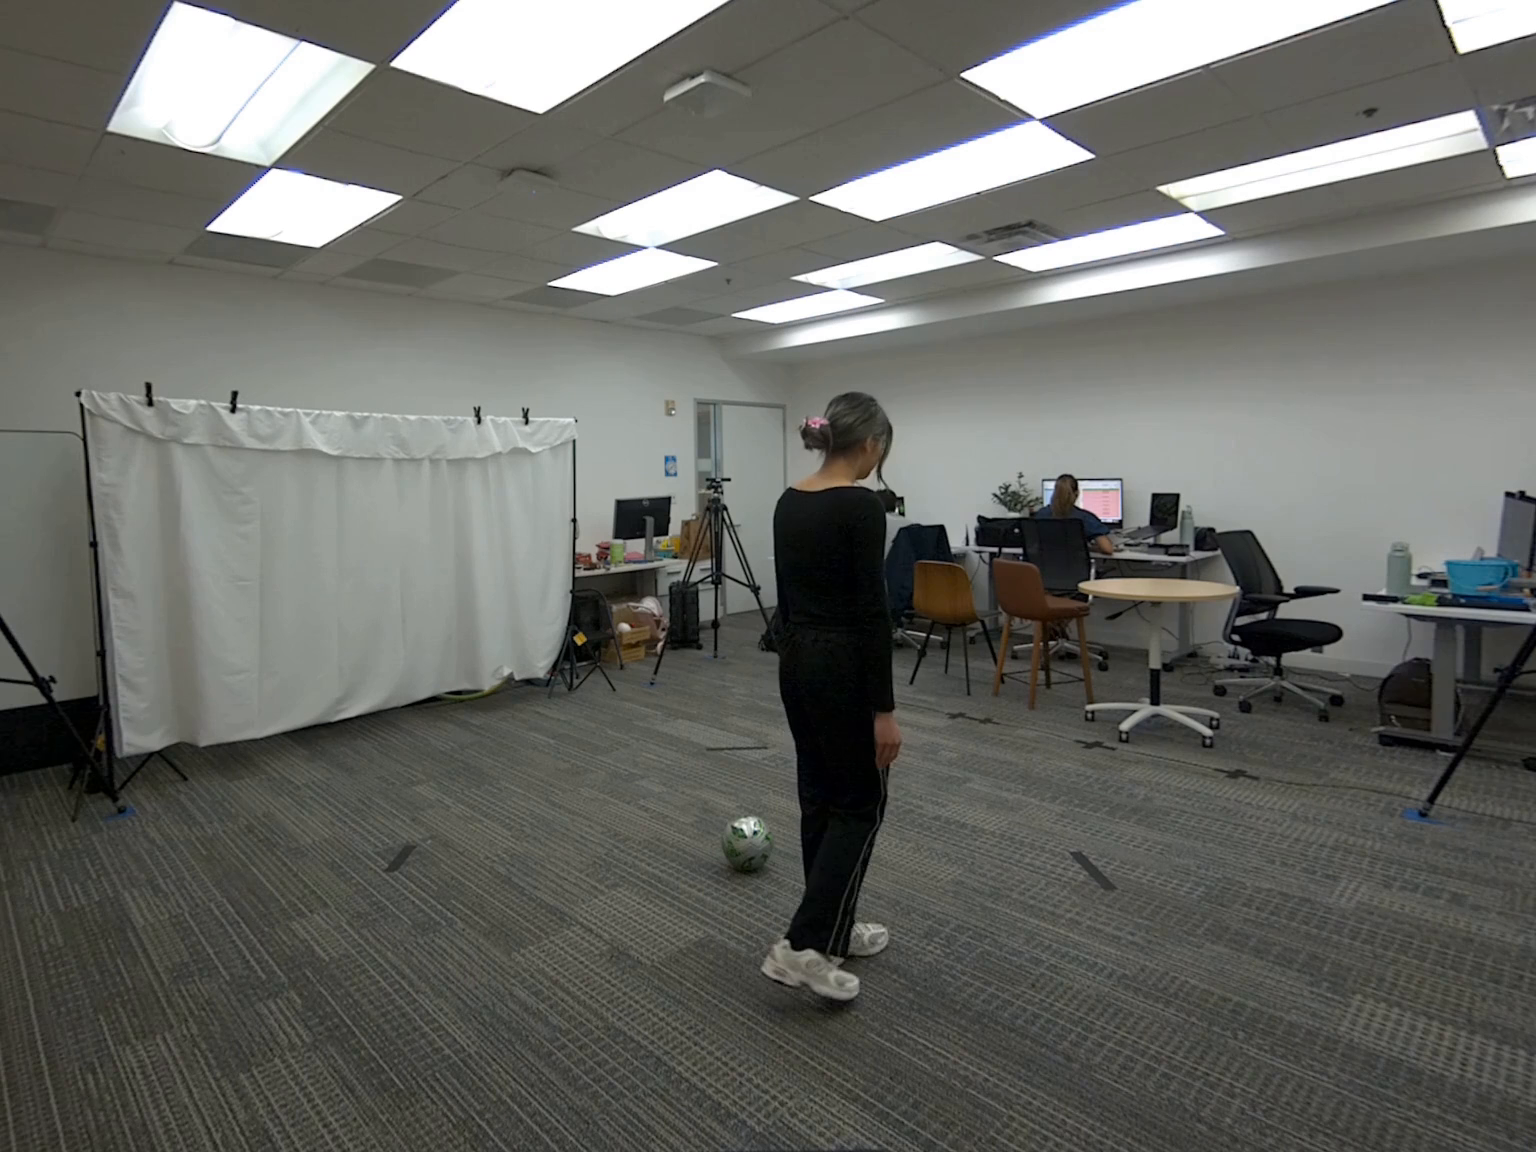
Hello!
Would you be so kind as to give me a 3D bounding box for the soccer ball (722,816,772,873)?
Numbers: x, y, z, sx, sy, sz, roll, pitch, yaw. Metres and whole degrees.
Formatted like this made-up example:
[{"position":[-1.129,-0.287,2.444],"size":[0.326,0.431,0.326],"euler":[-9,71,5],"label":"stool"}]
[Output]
[{"position":[-0.072,0.950,3.062],"size":[0.187,0.187,0.188],"euler":[-1,5,-2],"label":"soccer ball"}]
